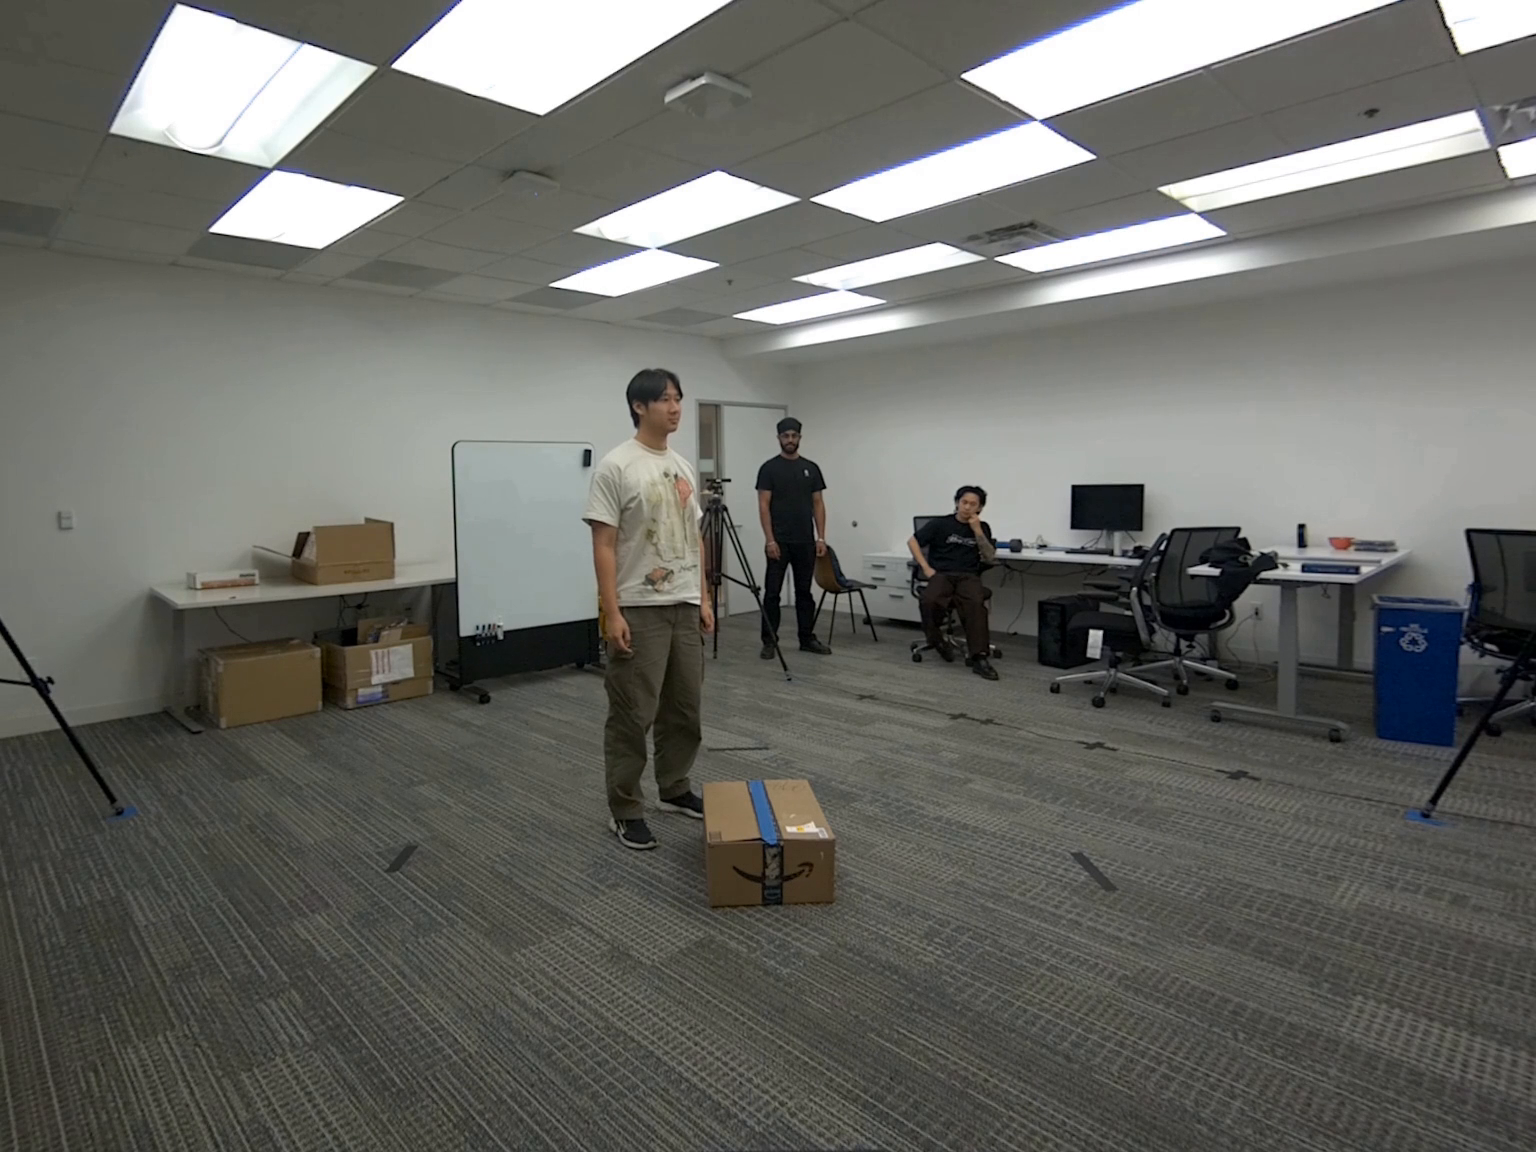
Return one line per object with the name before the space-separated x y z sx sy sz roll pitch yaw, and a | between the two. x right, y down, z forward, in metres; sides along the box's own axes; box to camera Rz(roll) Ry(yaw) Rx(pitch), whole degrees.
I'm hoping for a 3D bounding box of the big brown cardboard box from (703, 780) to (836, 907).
big brown cardboard box | -0.016 0.936 3.058 0.416 0.232 0.593 -1 5 -5
